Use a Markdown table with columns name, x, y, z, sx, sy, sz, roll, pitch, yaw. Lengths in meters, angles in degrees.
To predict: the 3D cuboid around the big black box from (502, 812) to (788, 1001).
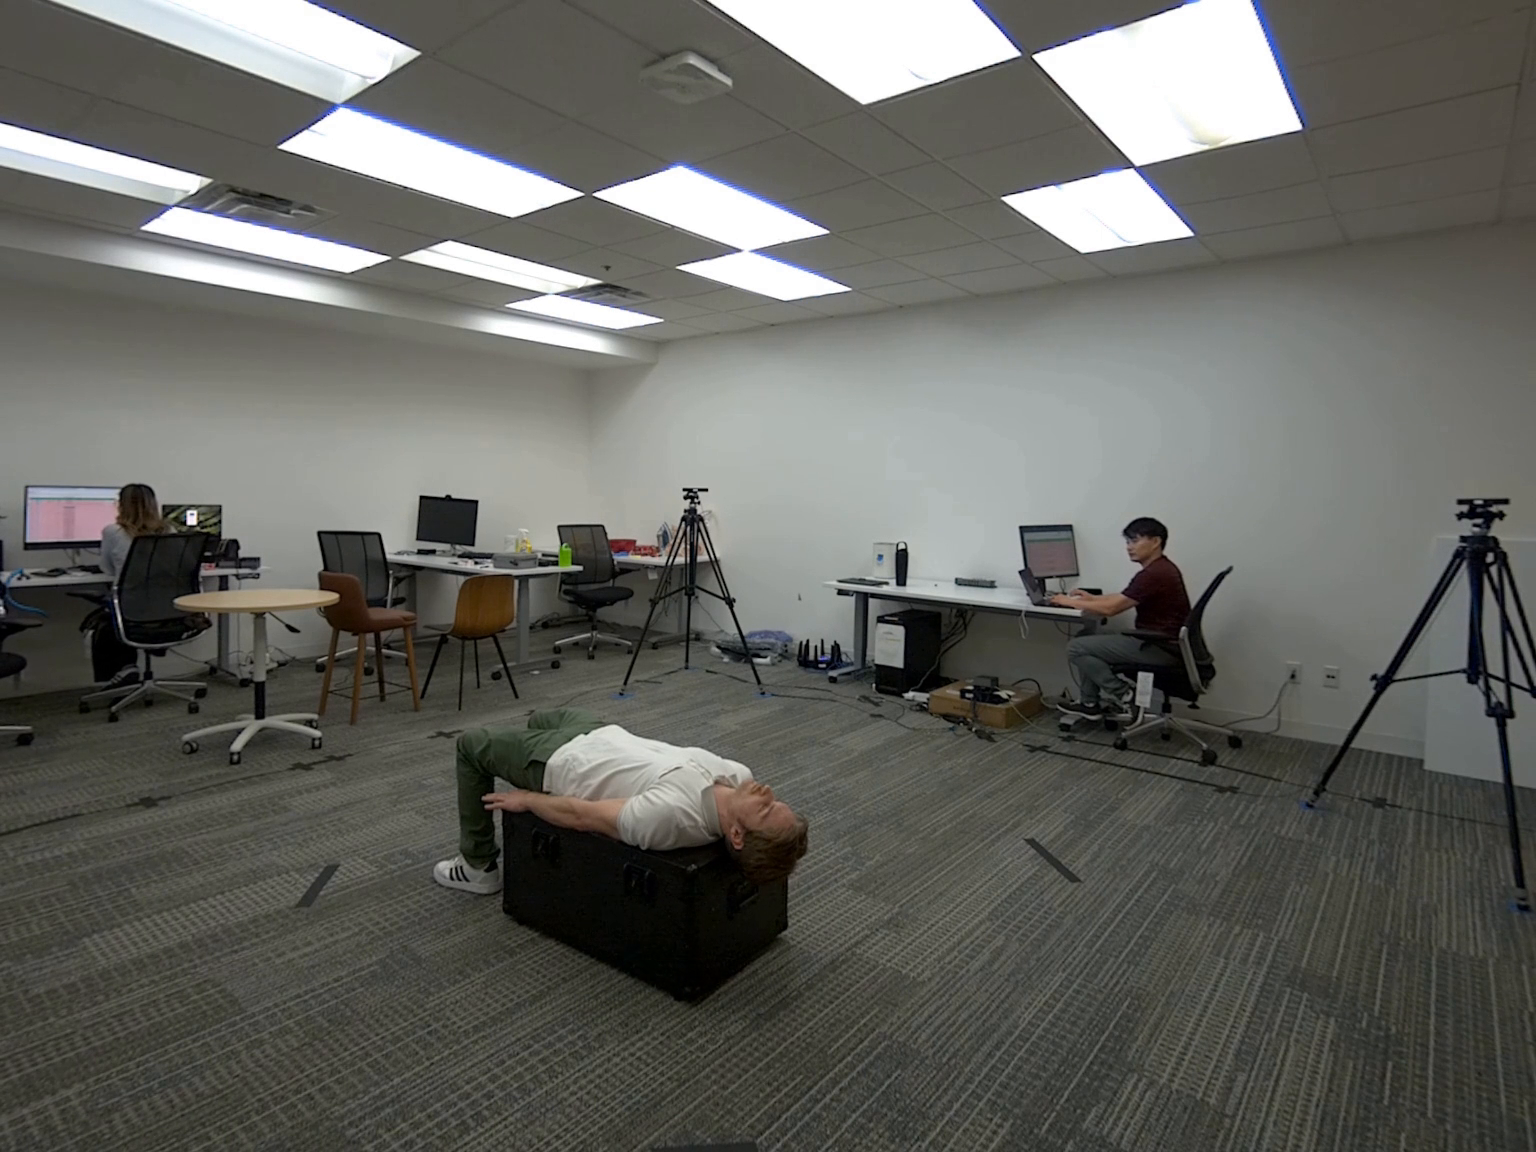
| name | x | y | z | sx | sy | sz | roll | pitch | yaw |
| --- | --- | --- | --- | --- | --- | --- | --- | --- | --- |
| big black box | -0.427 | 0.918 | 2.703 | 0.896 | 0.384 | 0.509 | 4 | 6 | 35 |
